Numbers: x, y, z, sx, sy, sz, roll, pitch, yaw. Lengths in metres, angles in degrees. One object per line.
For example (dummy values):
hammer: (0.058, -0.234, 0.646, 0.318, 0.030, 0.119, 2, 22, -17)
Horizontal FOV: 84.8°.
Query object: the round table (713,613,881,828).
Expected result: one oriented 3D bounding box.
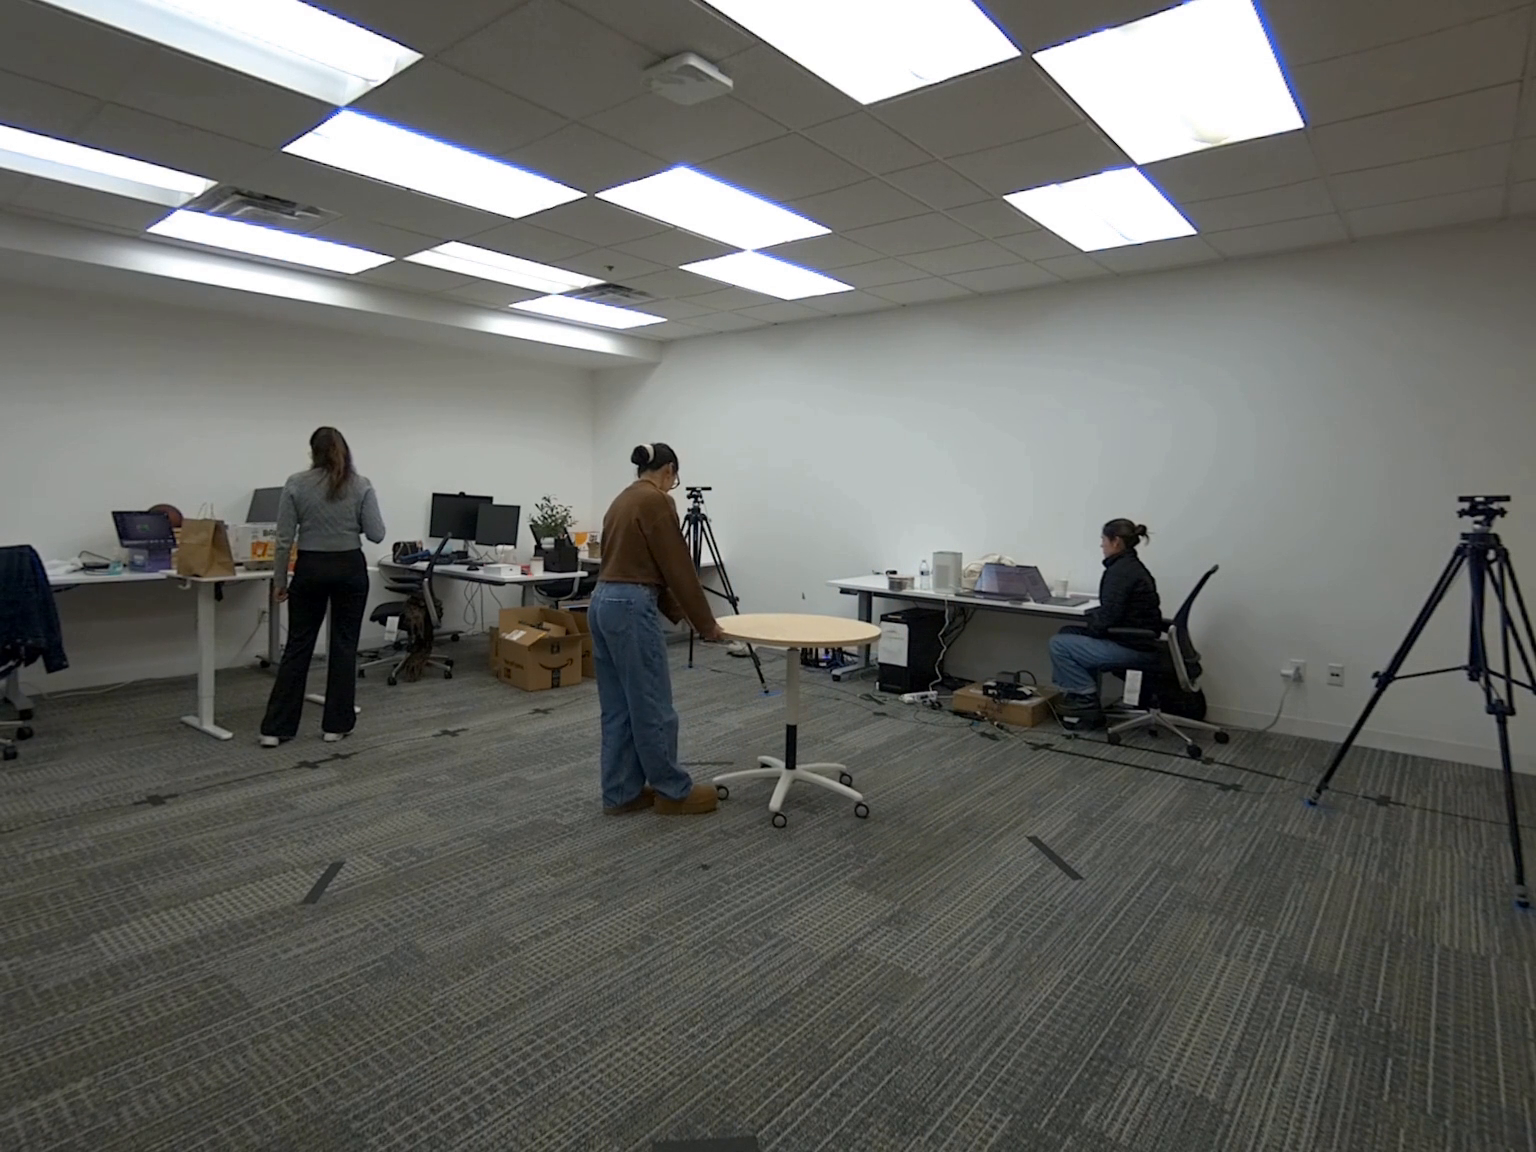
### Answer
round table: (0.099, 0.615, 3.808, 0.763, 0.792, 0.767, 1, 4, -2)
